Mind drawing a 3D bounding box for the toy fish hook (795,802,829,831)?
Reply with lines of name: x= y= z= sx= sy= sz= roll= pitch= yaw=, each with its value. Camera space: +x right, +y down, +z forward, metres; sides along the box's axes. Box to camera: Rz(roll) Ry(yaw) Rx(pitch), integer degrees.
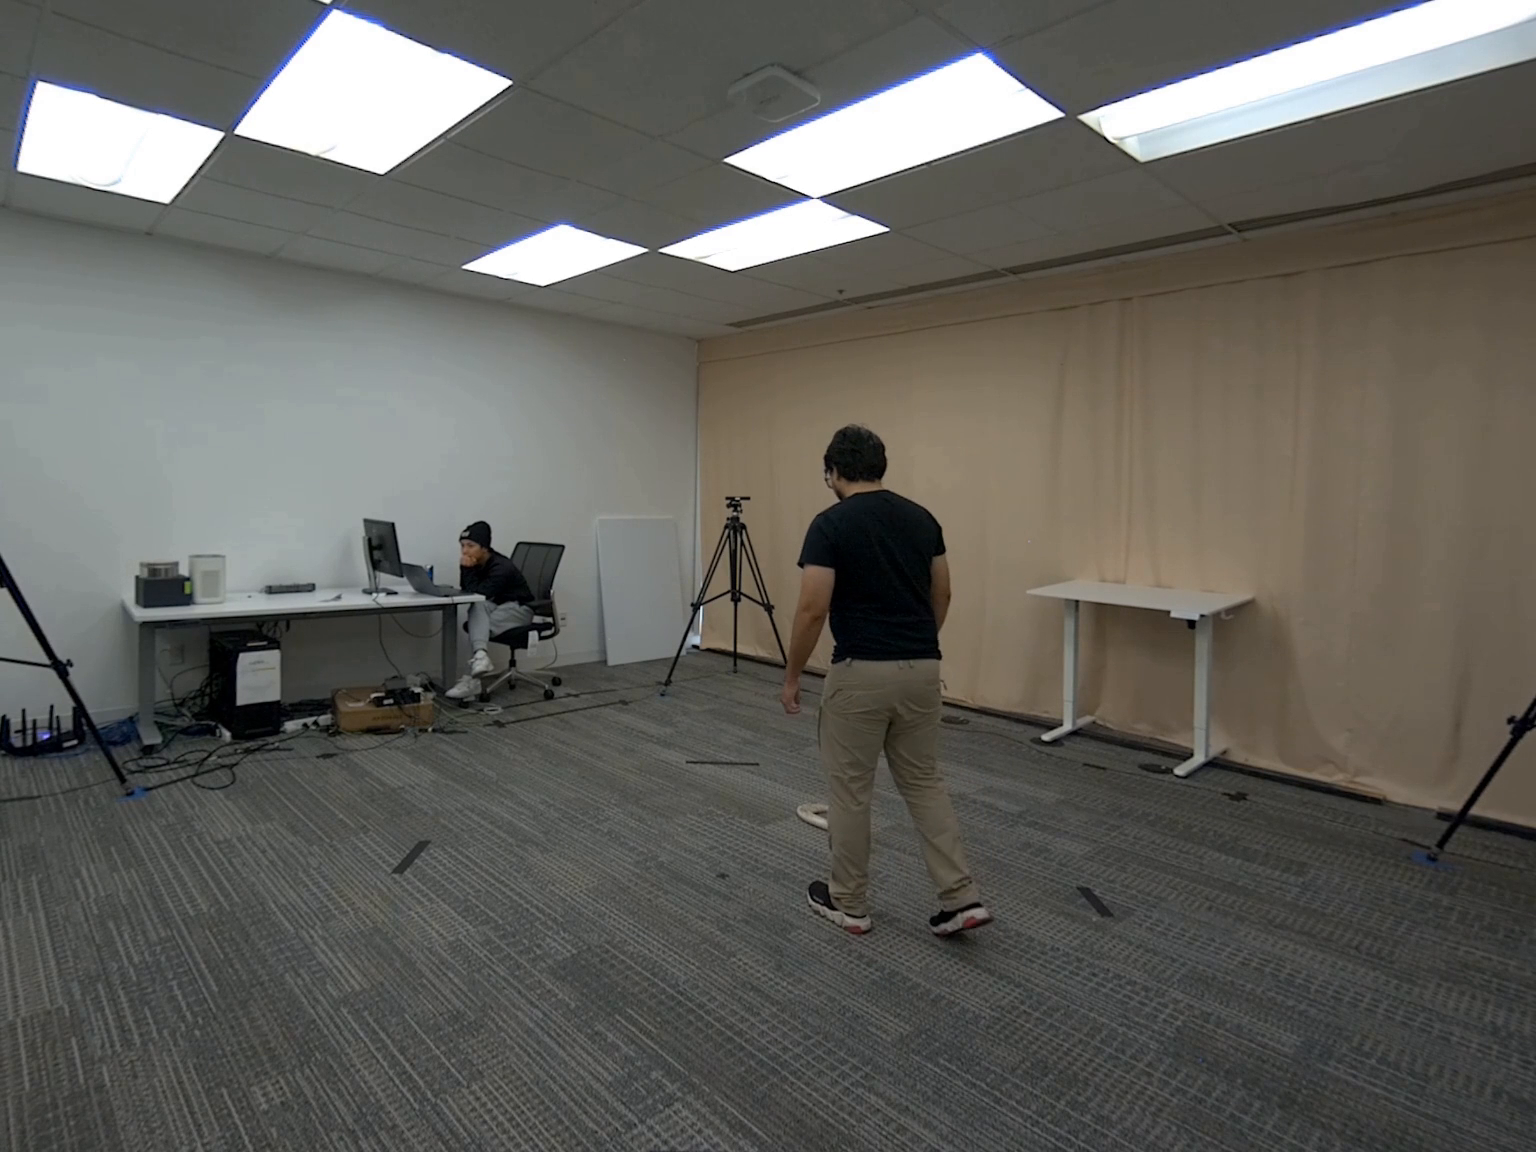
toy fish hook: x=0.305 y=1.056 z=3.576 sx=0.220 sy=0.048 sz=0.518 roll=-2 pitch=6 yaw=-28
